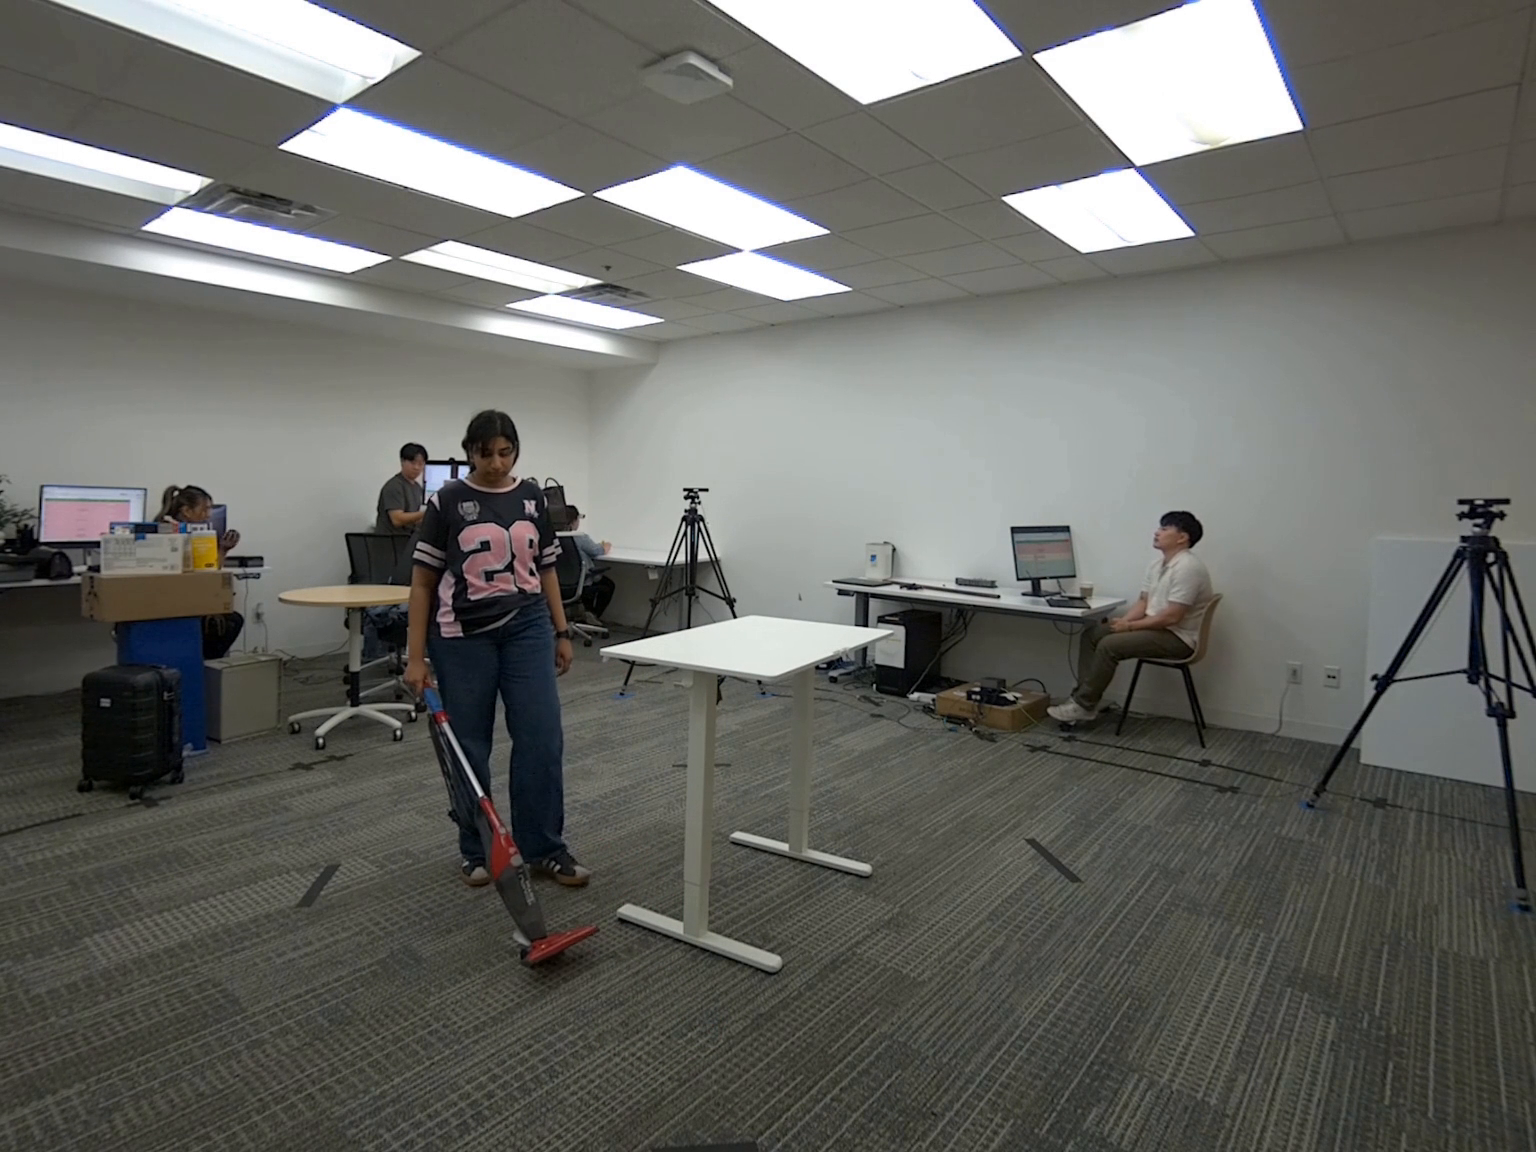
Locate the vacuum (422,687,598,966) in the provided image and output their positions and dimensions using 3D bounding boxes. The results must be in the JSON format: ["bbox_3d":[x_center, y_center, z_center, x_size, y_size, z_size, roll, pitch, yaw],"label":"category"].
[{"bbox_3d":[-0.938,0.725,2.710,0.244,0.143,1.086,3,41,-54],"label":"vacuum"}]
